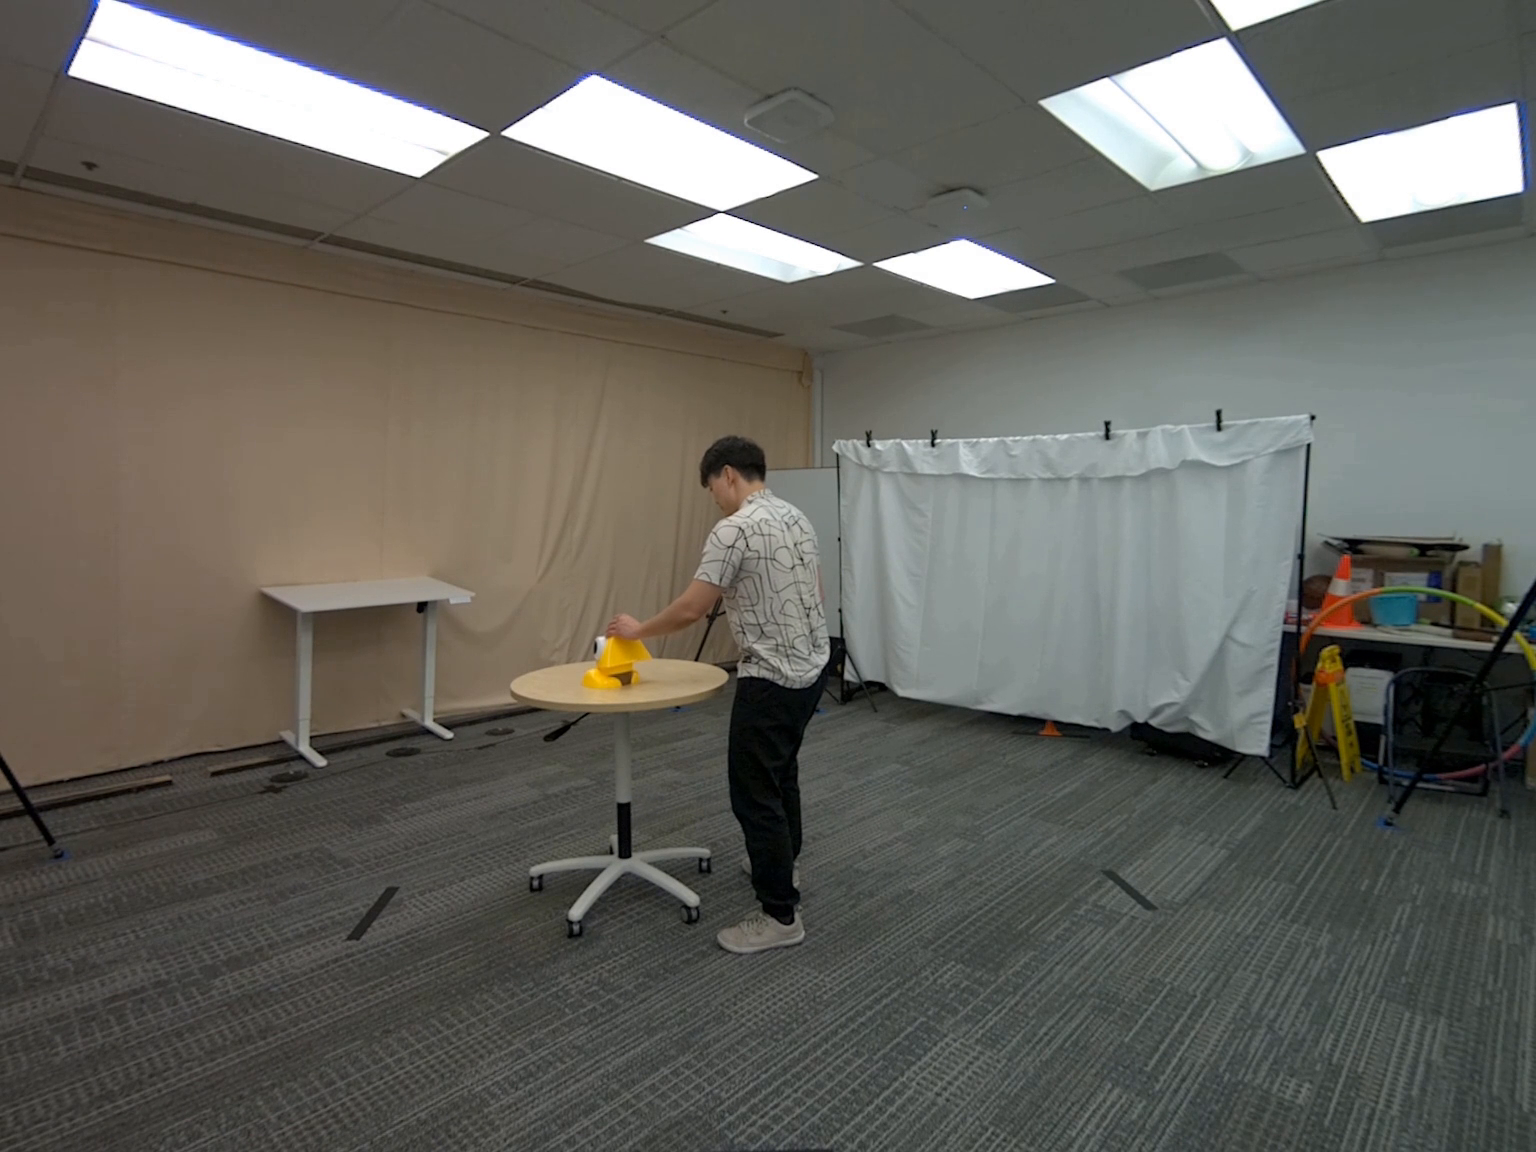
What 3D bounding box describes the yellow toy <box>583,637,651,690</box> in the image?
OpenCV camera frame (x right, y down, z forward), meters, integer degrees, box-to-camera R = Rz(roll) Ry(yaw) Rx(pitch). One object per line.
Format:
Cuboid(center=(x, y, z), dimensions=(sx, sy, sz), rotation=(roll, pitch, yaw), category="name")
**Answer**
Cuboid(center=(-0.537, 0.259, 2.918), dimensions=(0.199, 0.230, 0.199), rotation=(2, 5, 40), category="yellow toy")
